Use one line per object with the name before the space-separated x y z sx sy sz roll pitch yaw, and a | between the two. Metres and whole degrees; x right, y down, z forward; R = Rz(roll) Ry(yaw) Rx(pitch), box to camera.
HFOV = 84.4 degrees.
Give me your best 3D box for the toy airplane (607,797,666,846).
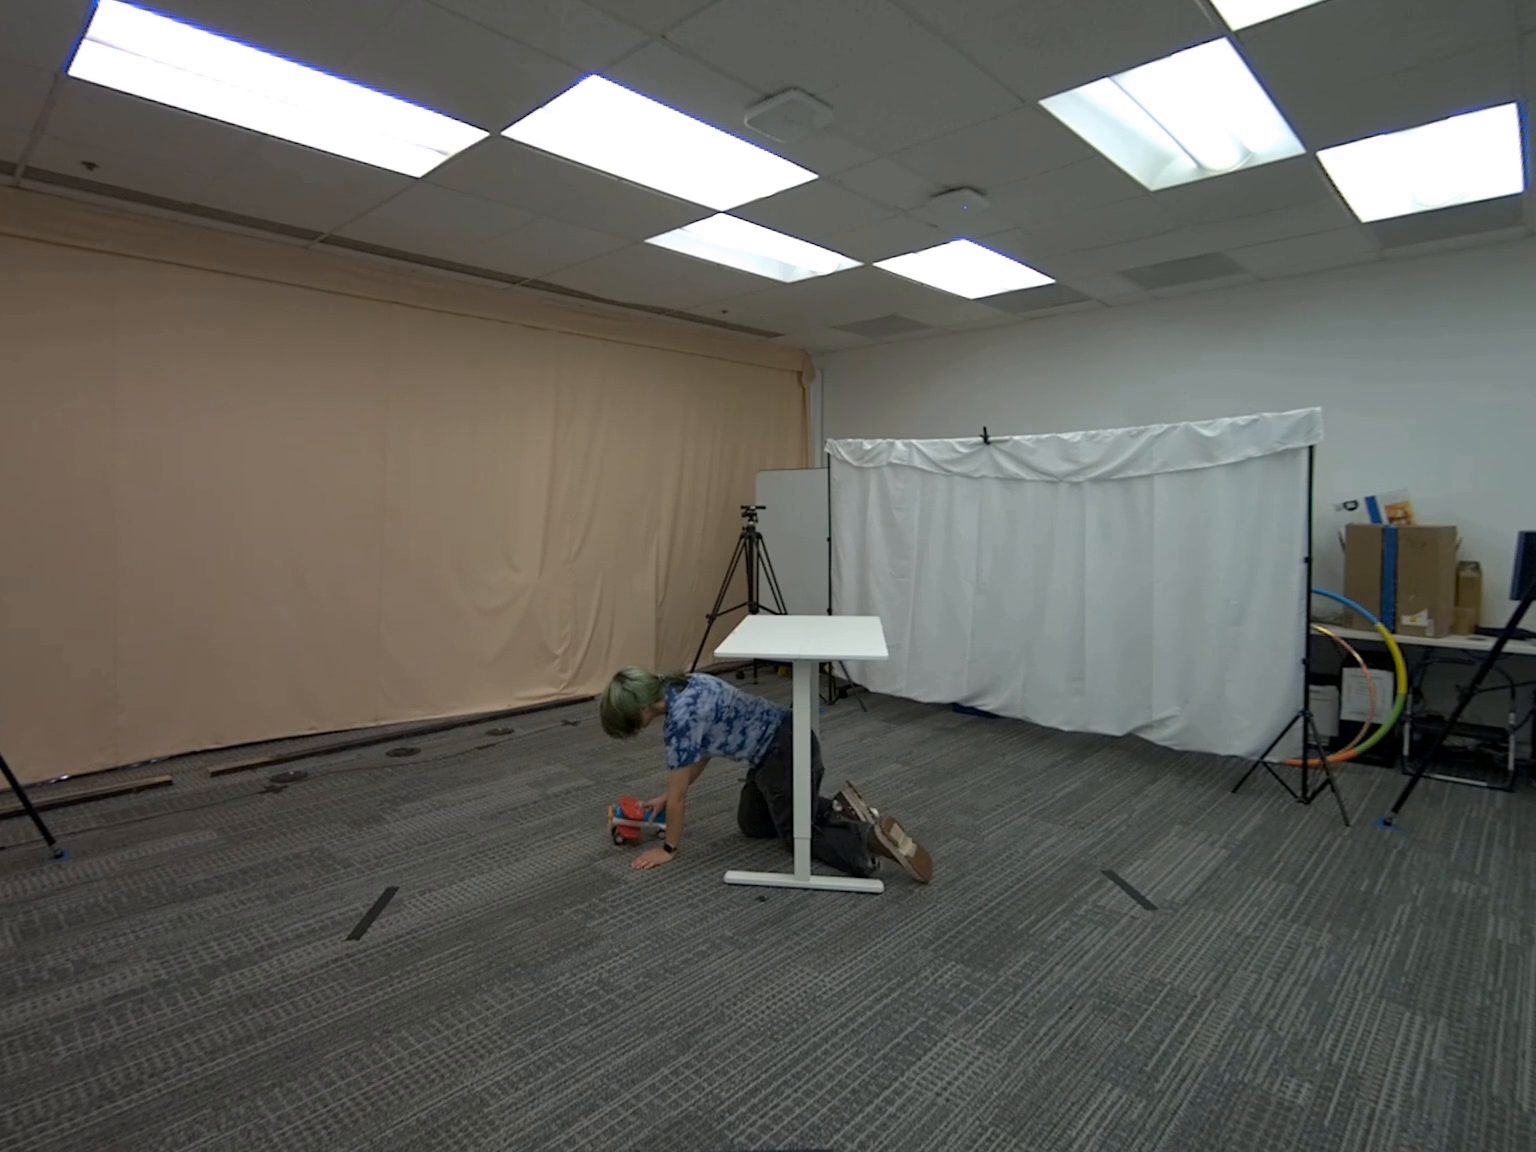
toy airplane | -0.544 1.035 3.553 0.251 0.156 0.259 -6 5 -42
